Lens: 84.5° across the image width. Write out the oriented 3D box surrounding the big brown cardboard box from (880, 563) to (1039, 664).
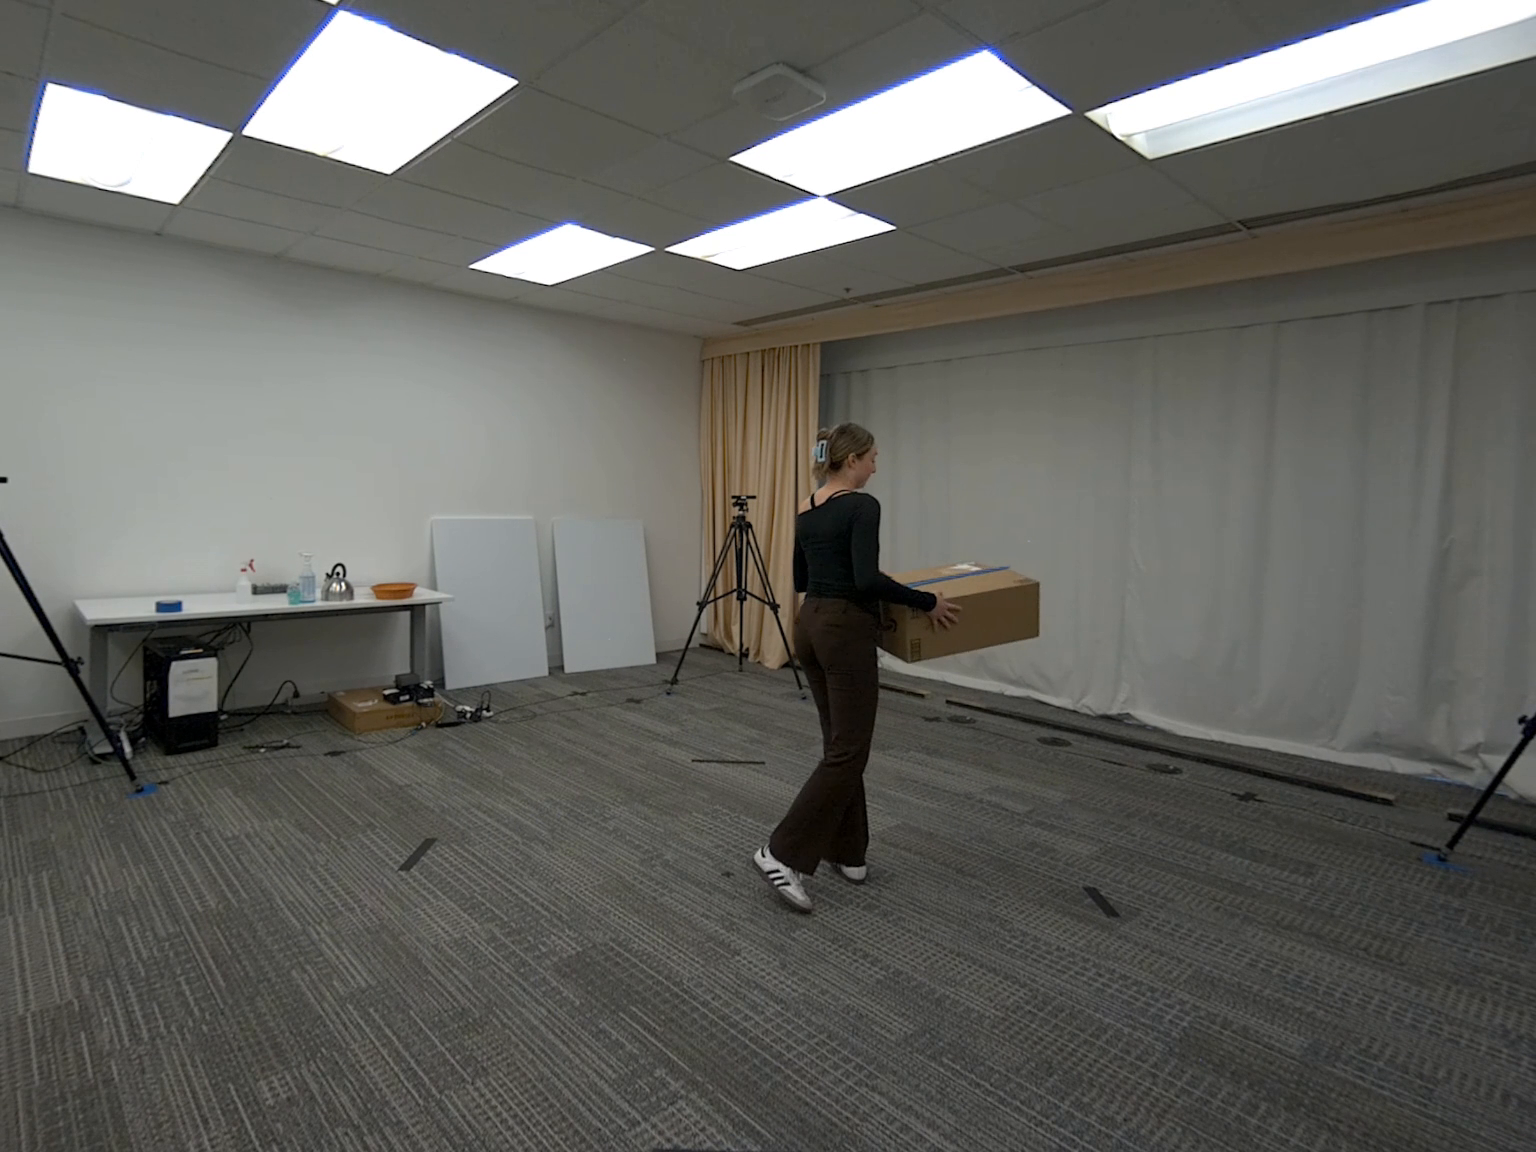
[{"bbox_3d":[0.647,0.119,3.180,0.581,0.231,0.427,-10,15,-21],"label":"big brown cardboard box"}]
